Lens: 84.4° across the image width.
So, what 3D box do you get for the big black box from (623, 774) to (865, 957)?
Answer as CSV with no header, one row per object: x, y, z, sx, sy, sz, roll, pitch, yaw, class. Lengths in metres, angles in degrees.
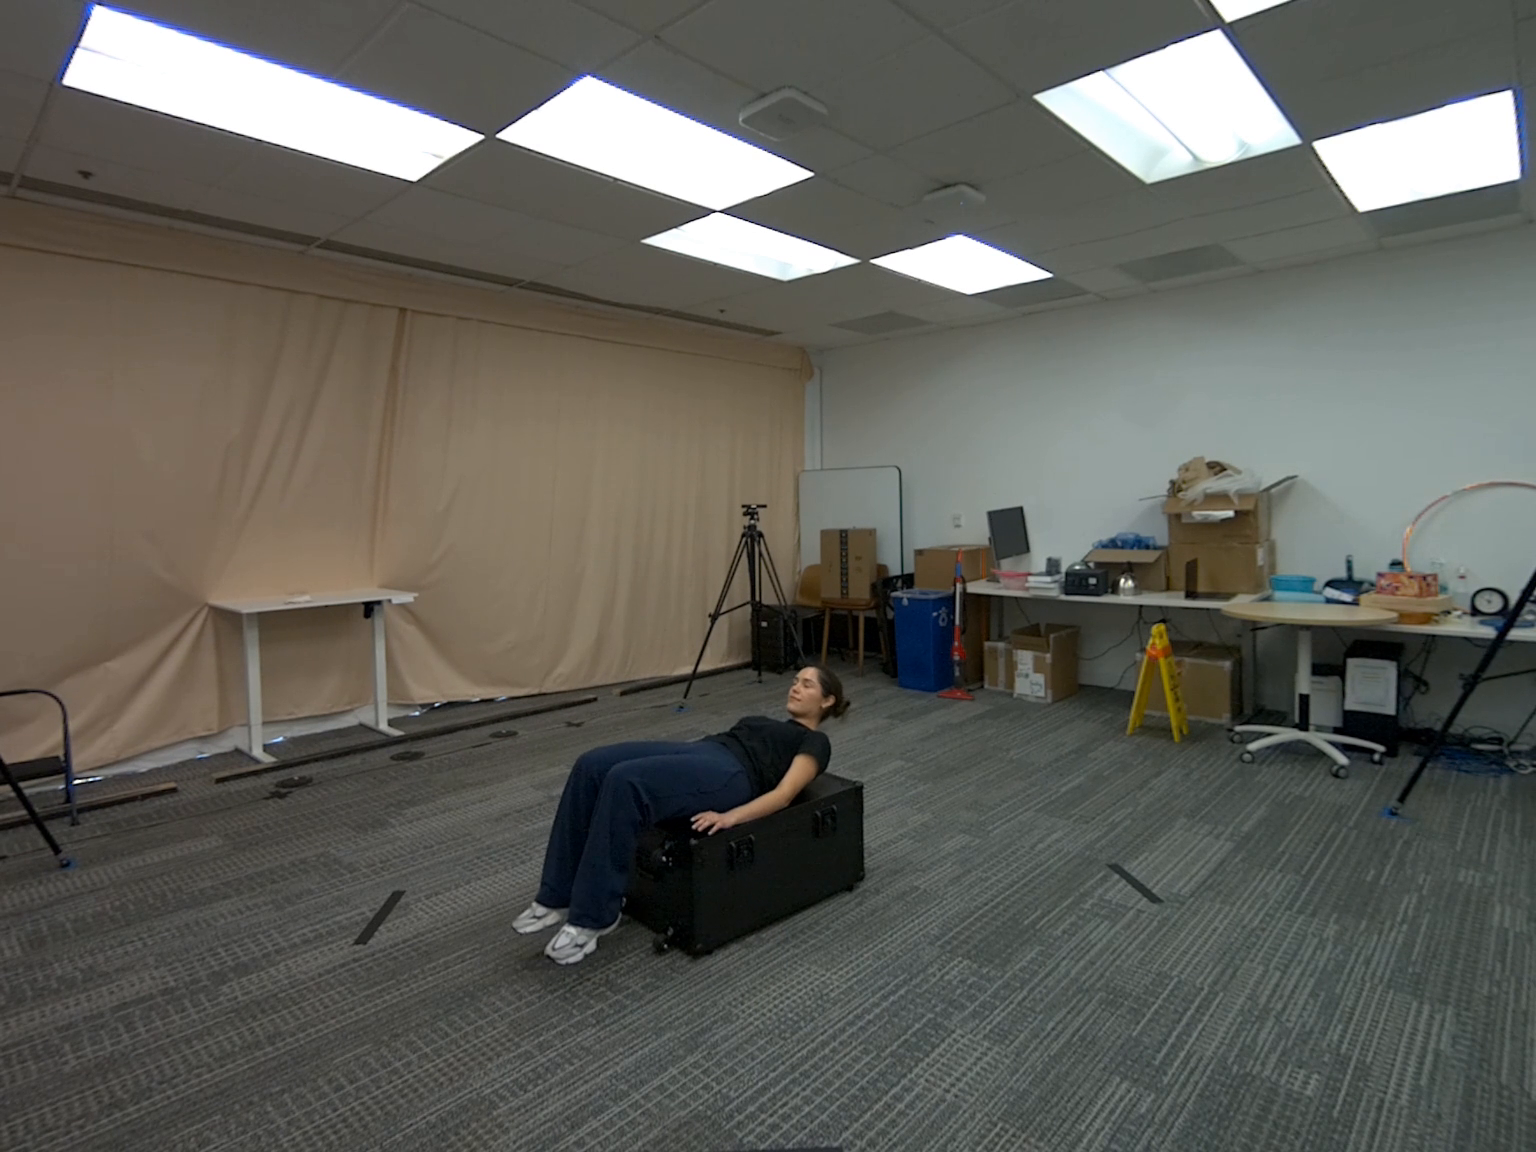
-0.060,0.954,3.002,0.836,0.395,0.538,-6,7,-41,big black box
